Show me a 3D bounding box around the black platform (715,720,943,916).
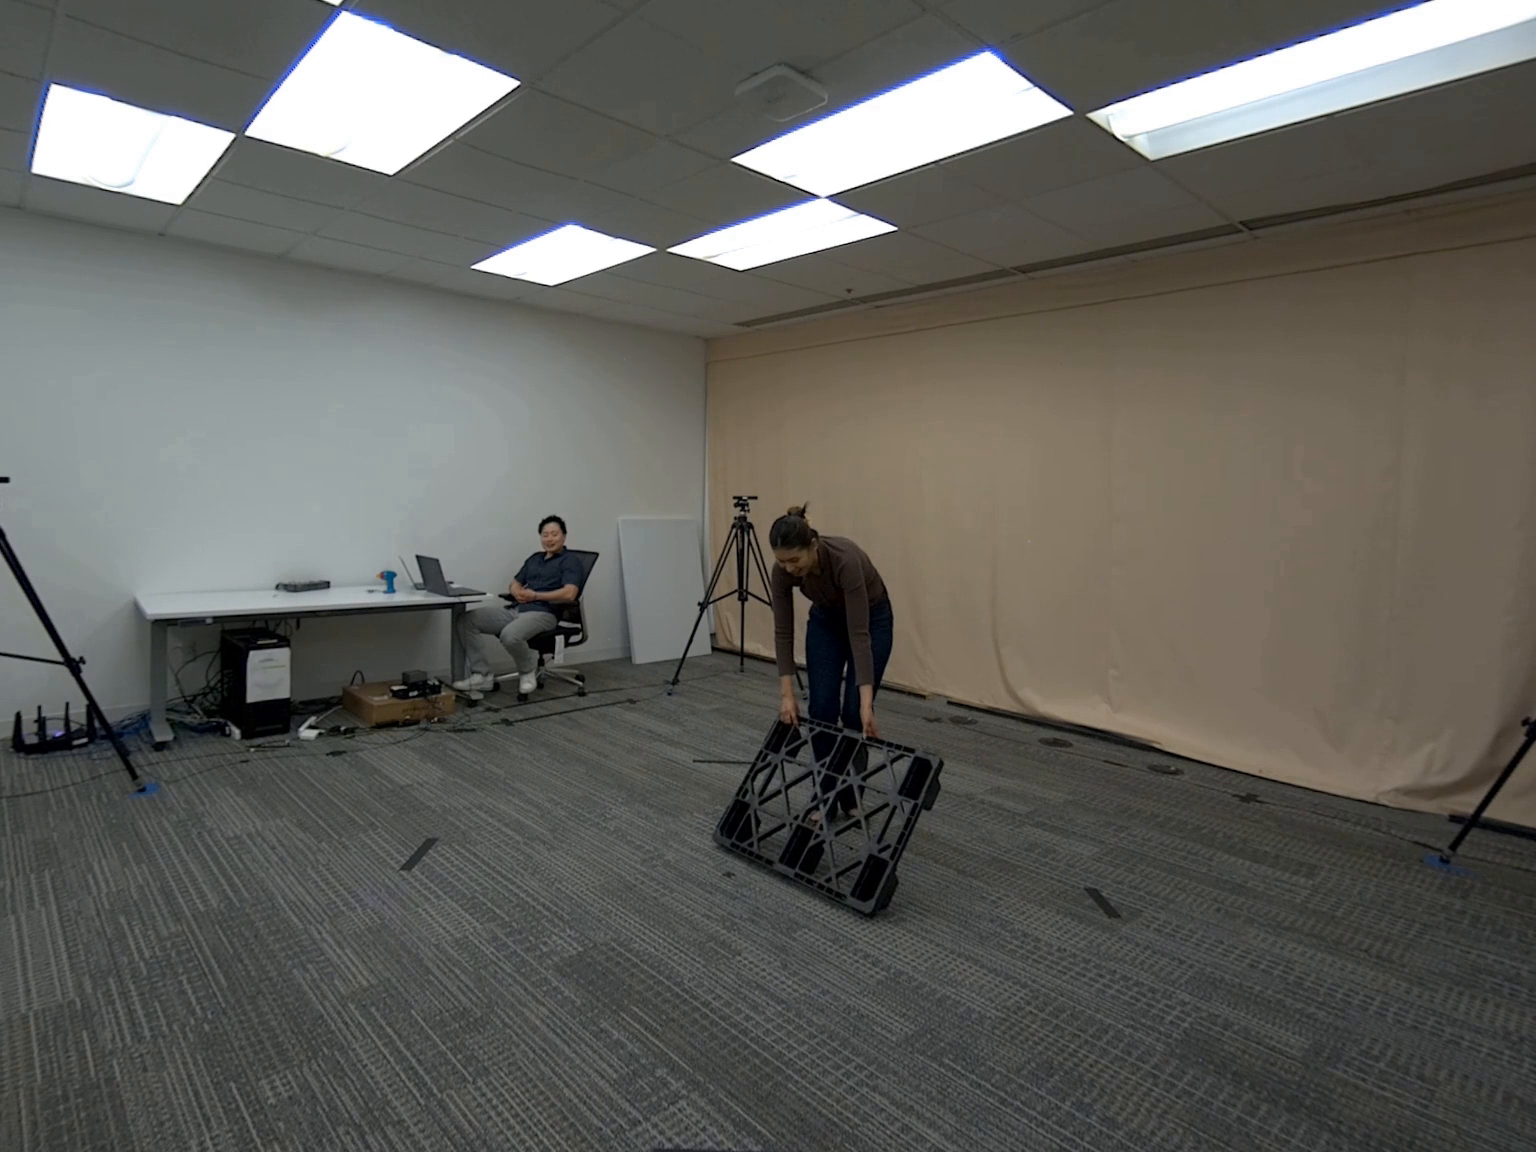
[{"bbox_3d":[0.222,0.883,3.195,0.826,0.608,0.139,6,-33,46],"label":"black platform"}]
